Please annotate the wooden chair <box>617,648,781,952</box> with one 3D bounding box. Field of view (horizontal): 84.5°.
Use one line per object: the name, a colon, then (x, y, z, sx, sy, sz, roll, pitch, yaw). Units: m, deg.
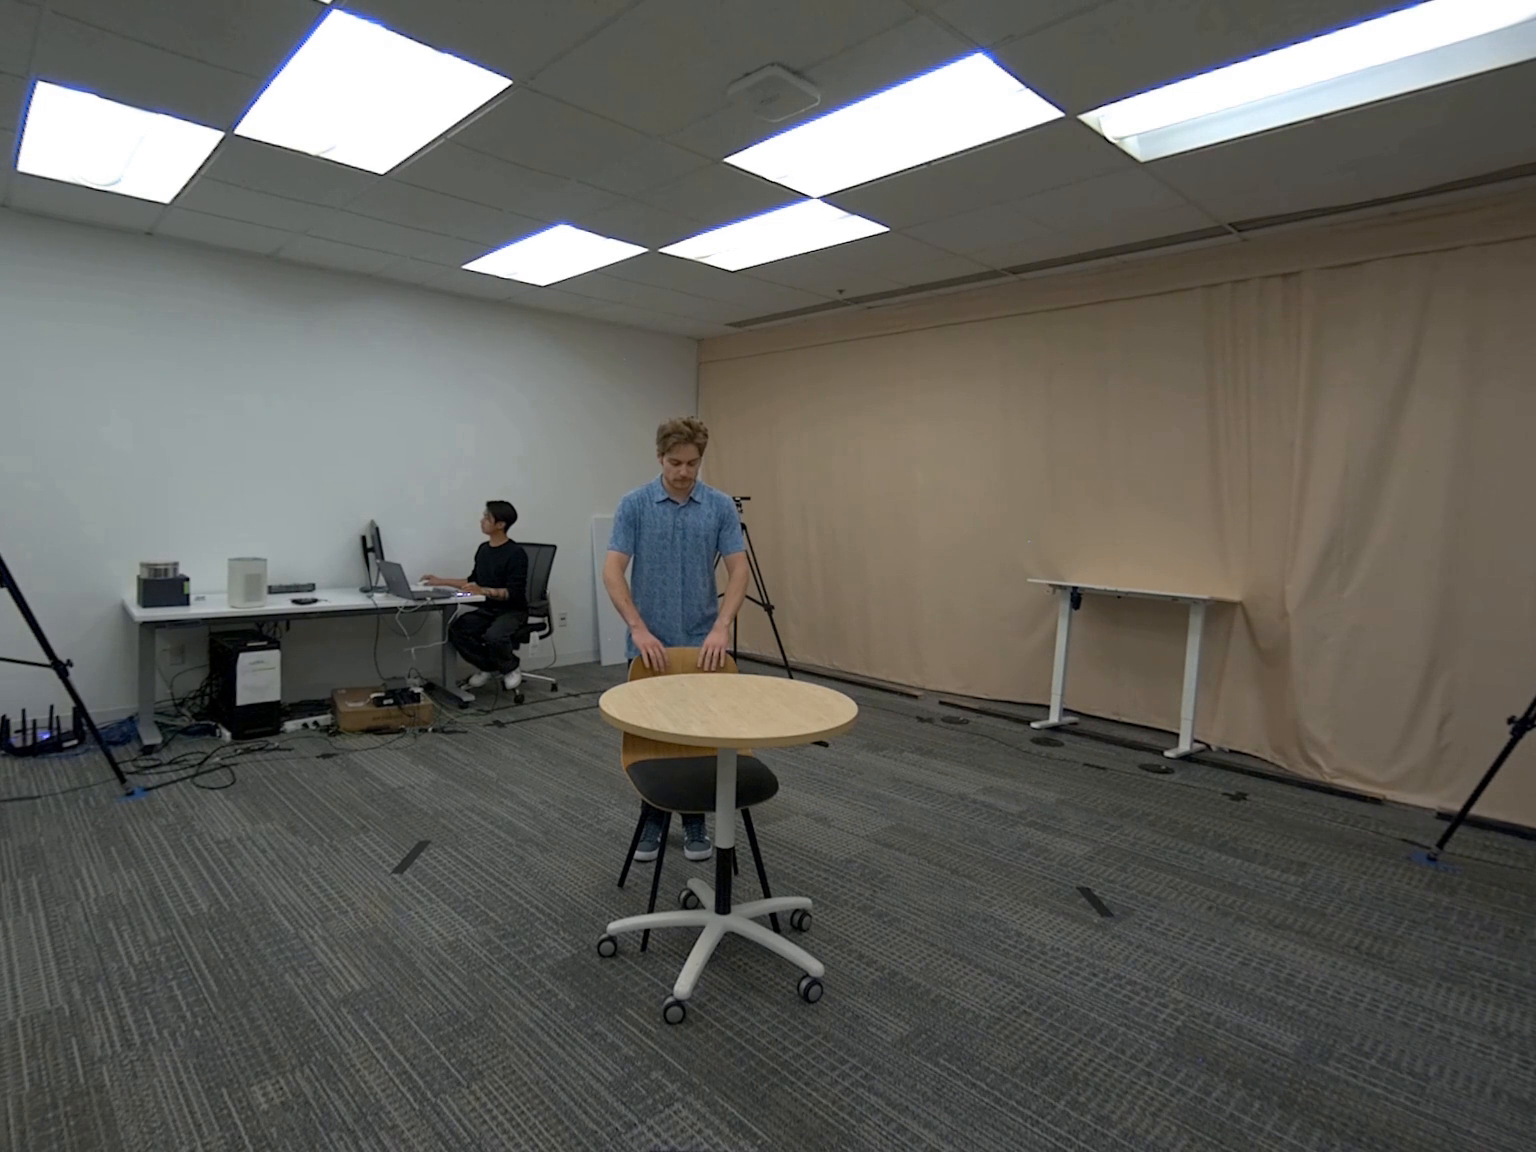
wooden chair: (-0.243, 0.701, 2.814, 0.471, 0.878, 0.530, 0, 0, -18)
